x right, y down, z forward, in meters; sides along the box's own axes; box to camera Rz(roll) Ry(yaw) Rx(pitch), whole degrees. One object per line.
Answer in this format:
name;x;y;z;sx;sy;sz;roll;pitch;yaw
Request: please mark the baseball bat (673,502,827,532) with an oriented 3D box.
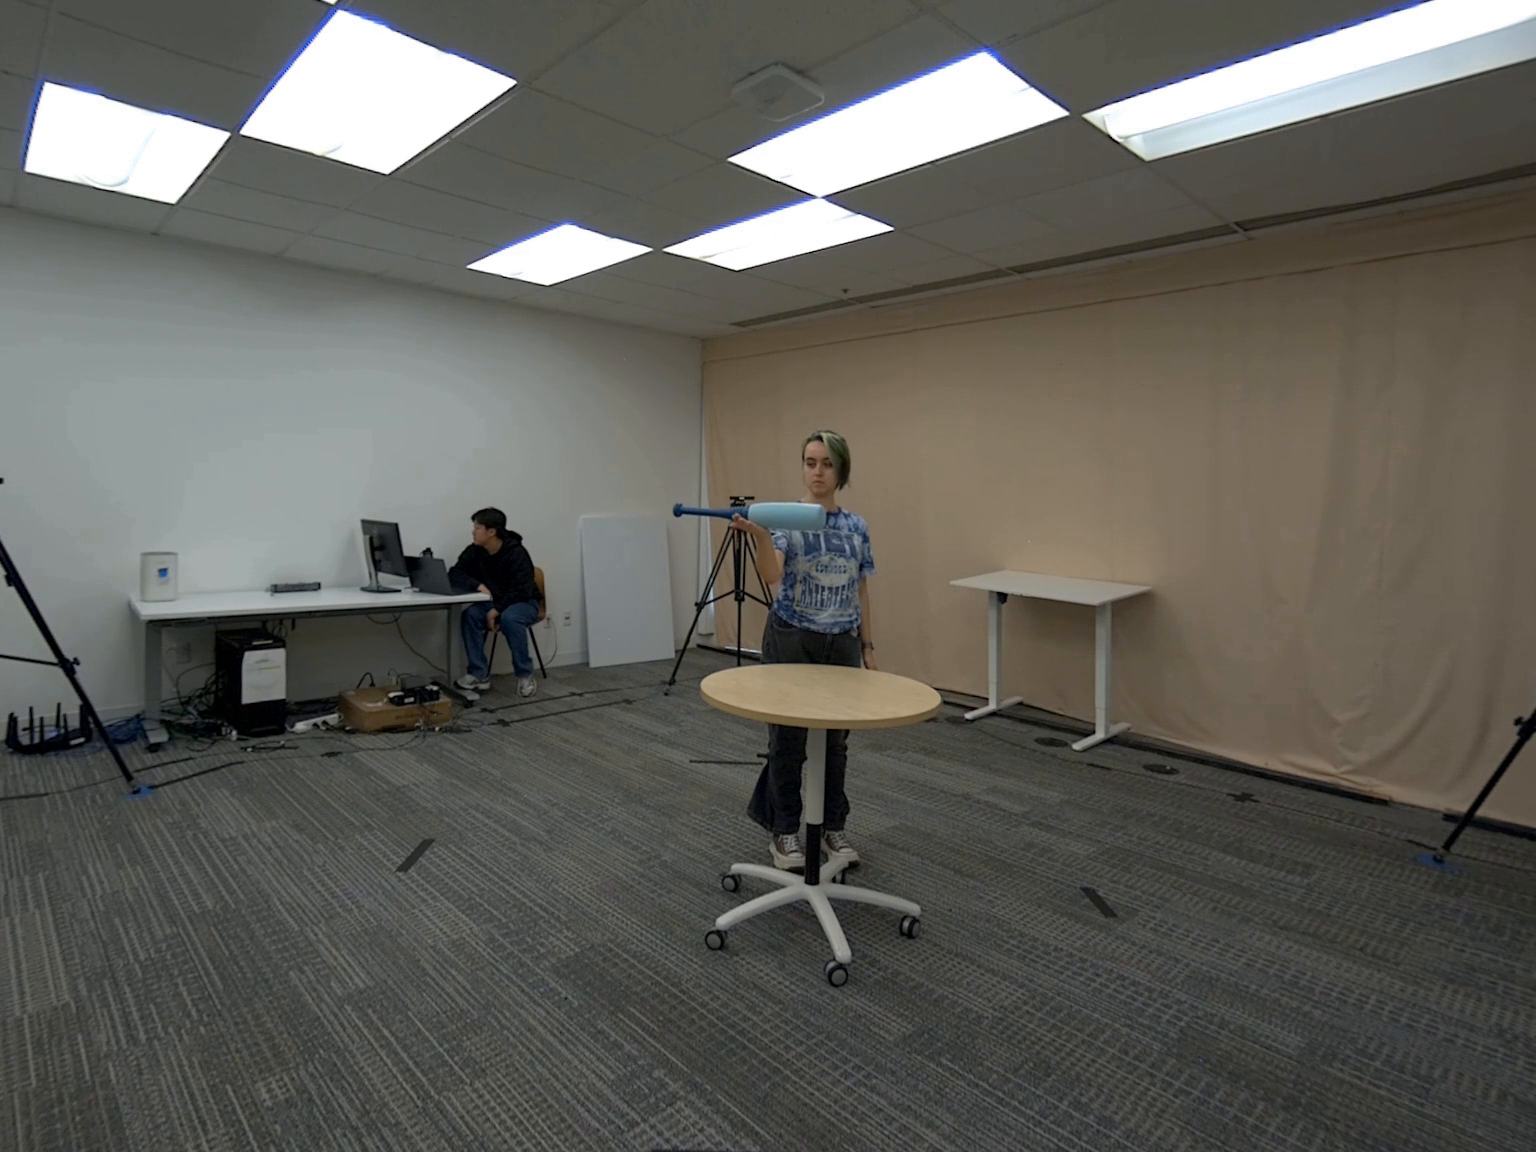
baseball bat;-0.078;-0.202;2.800;0.553;0.089;0.088;5;5;22
